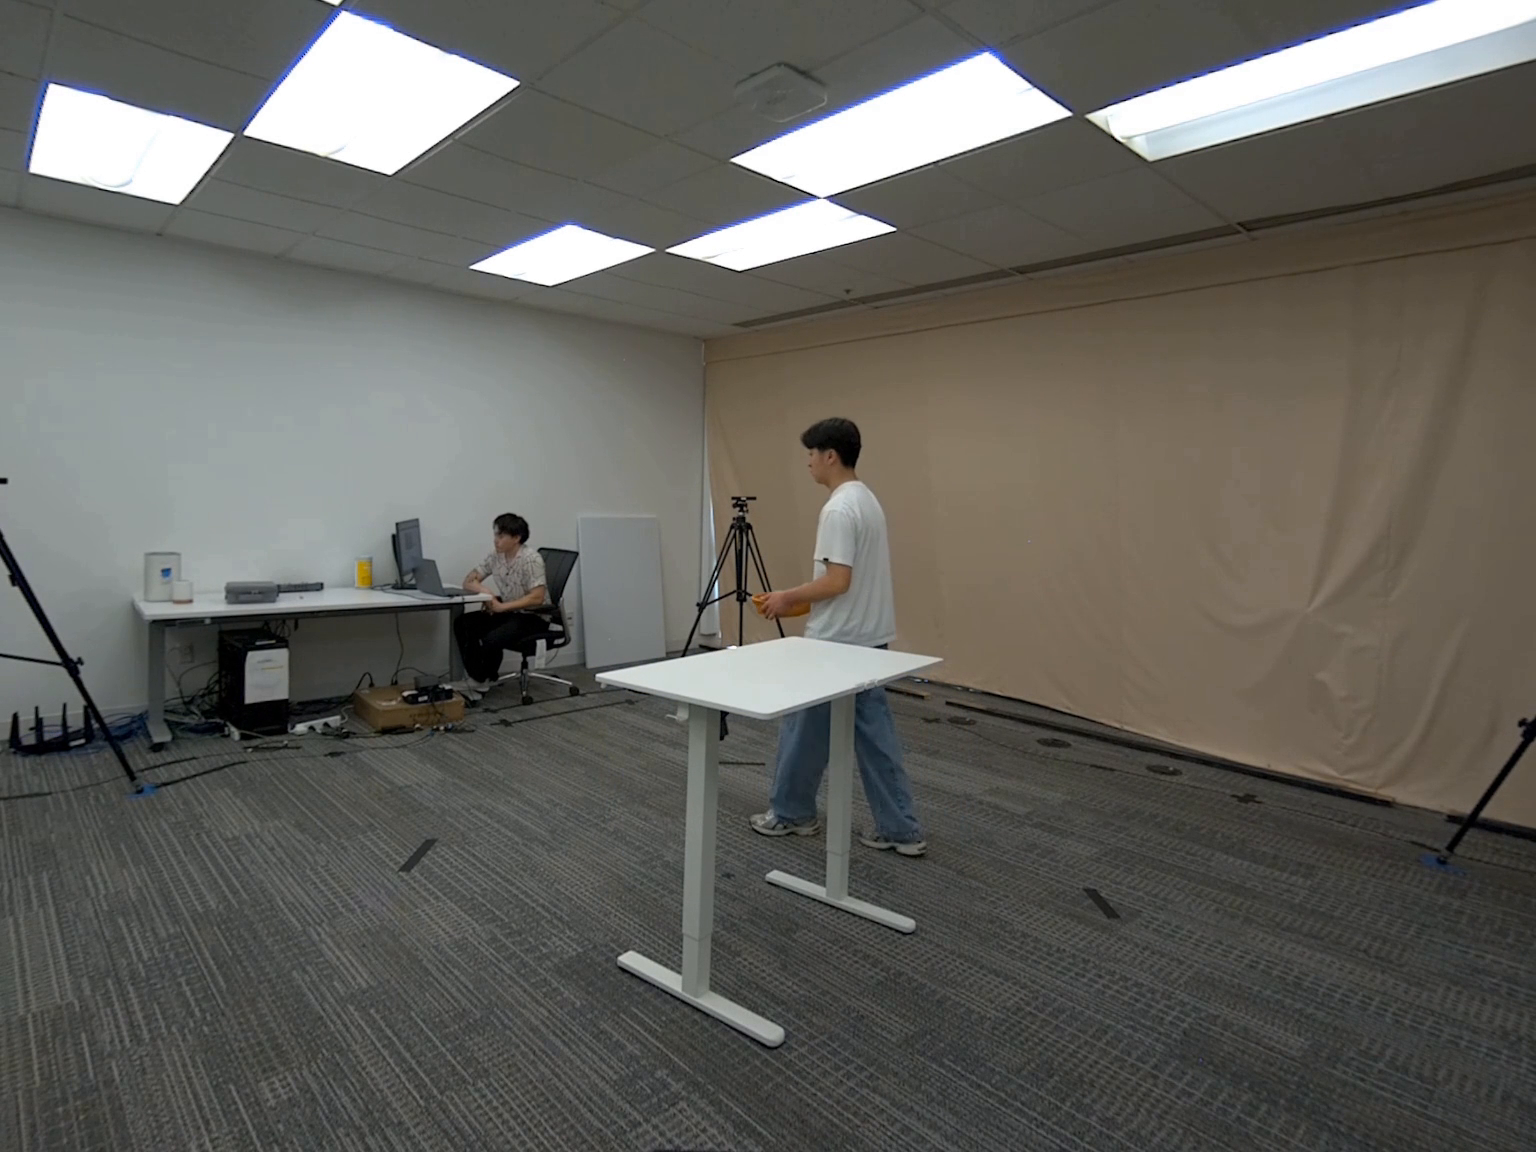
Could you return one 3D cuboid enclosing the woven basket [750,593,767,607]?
[{"bbox_3d":[0.109,0.119,3.547,0.258,0.073,0.343,4,7,39],"label":"woven basket"}]
